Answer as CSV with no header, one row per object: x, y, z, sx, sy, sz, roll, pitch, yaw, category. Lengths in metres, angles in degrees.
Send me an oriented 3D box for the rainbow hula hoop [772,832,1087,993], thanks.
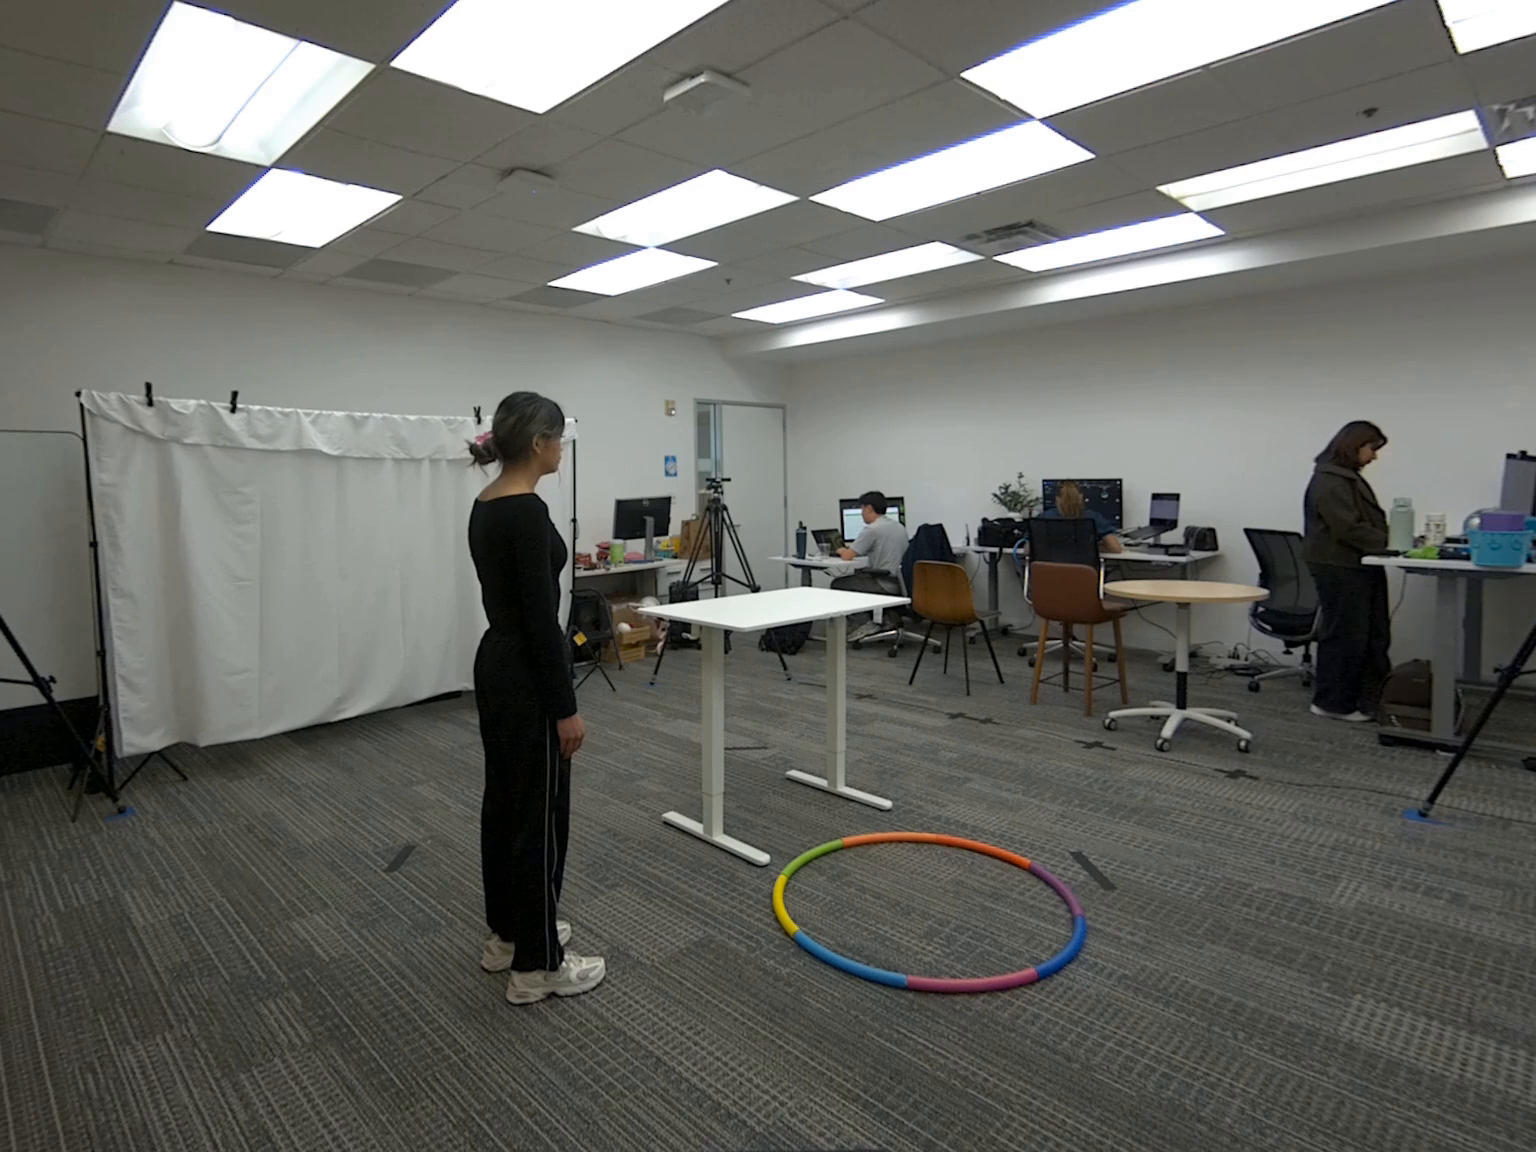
0.500,1.039,2.789,0.978,0.035,0.984,-2,7,-2,rainbow hula hoop
